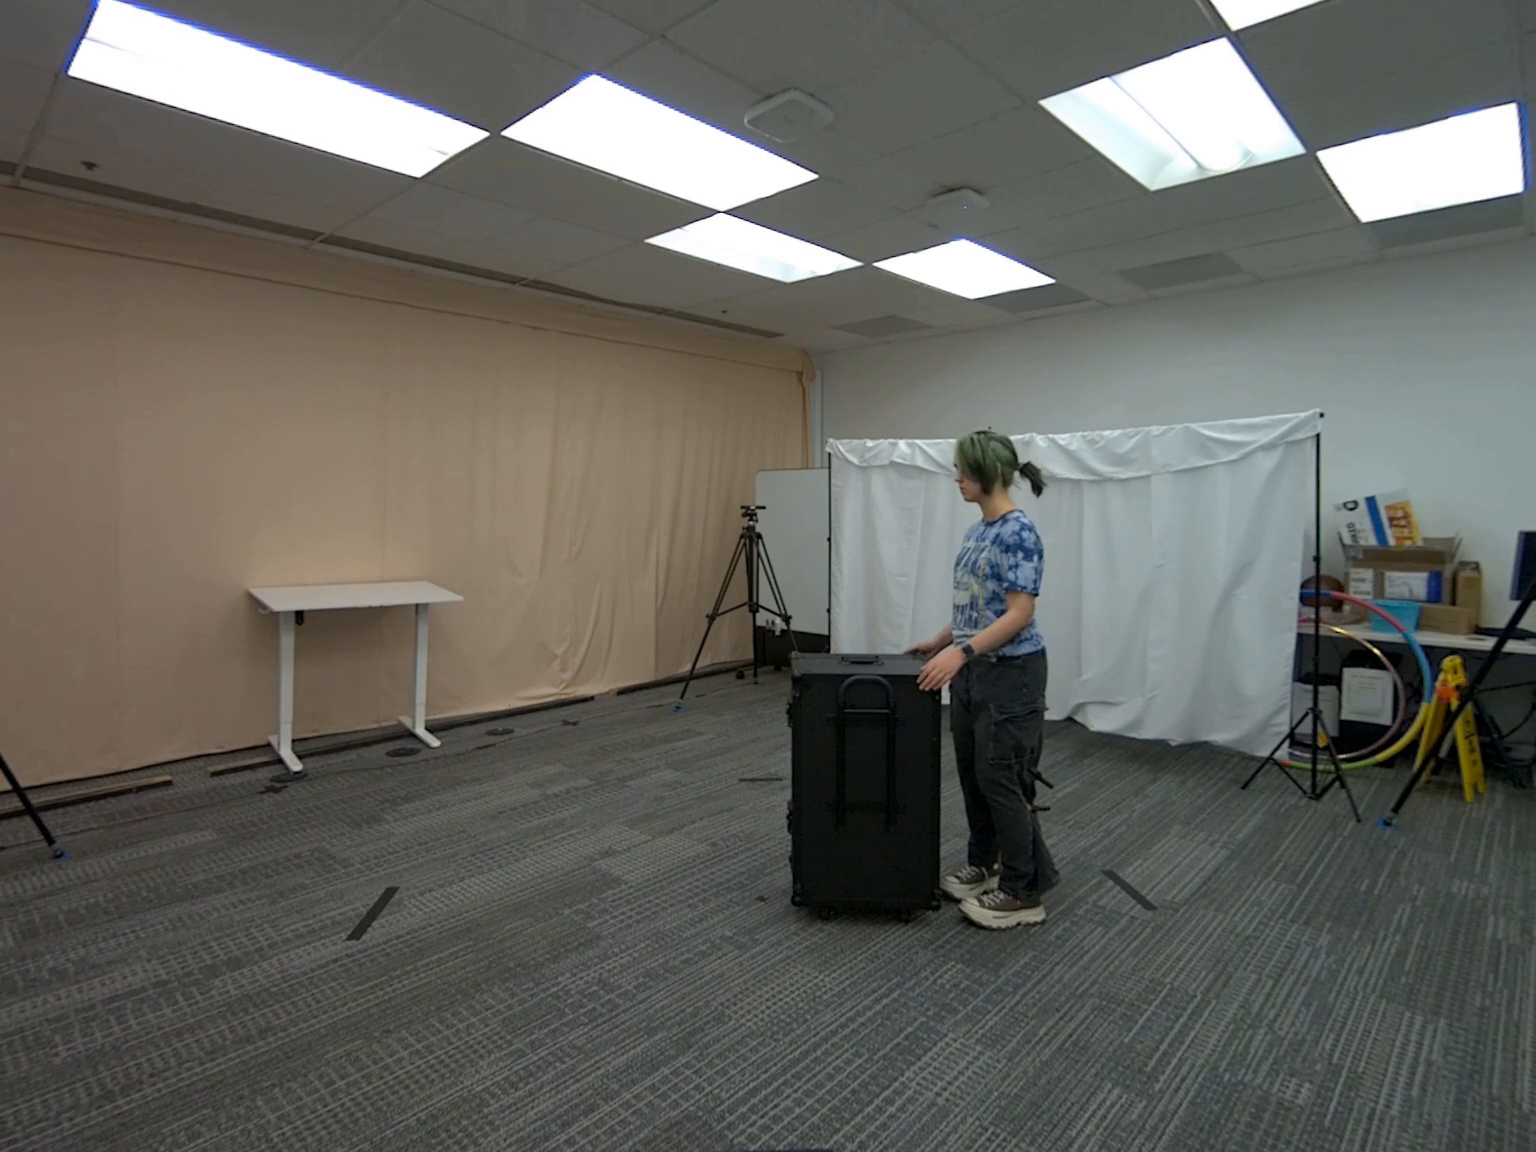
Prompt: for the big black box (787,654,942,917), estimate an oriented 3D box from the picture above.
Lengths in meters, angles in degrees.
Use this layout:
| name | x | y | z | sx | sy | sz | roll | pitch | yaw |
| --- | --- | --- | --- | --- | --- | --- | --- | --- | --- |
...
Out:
| name | x | y | z | sx | sy | sz | roll | pitch | yaw |
| --- | --- | --- | --- | --- | --- | --- | --- | --- | --- |
| big black box | 0.331 | 0.733 | 2.914 | 0.524 | 0.859 | 0.395 | 0 | 5 | 4 |
